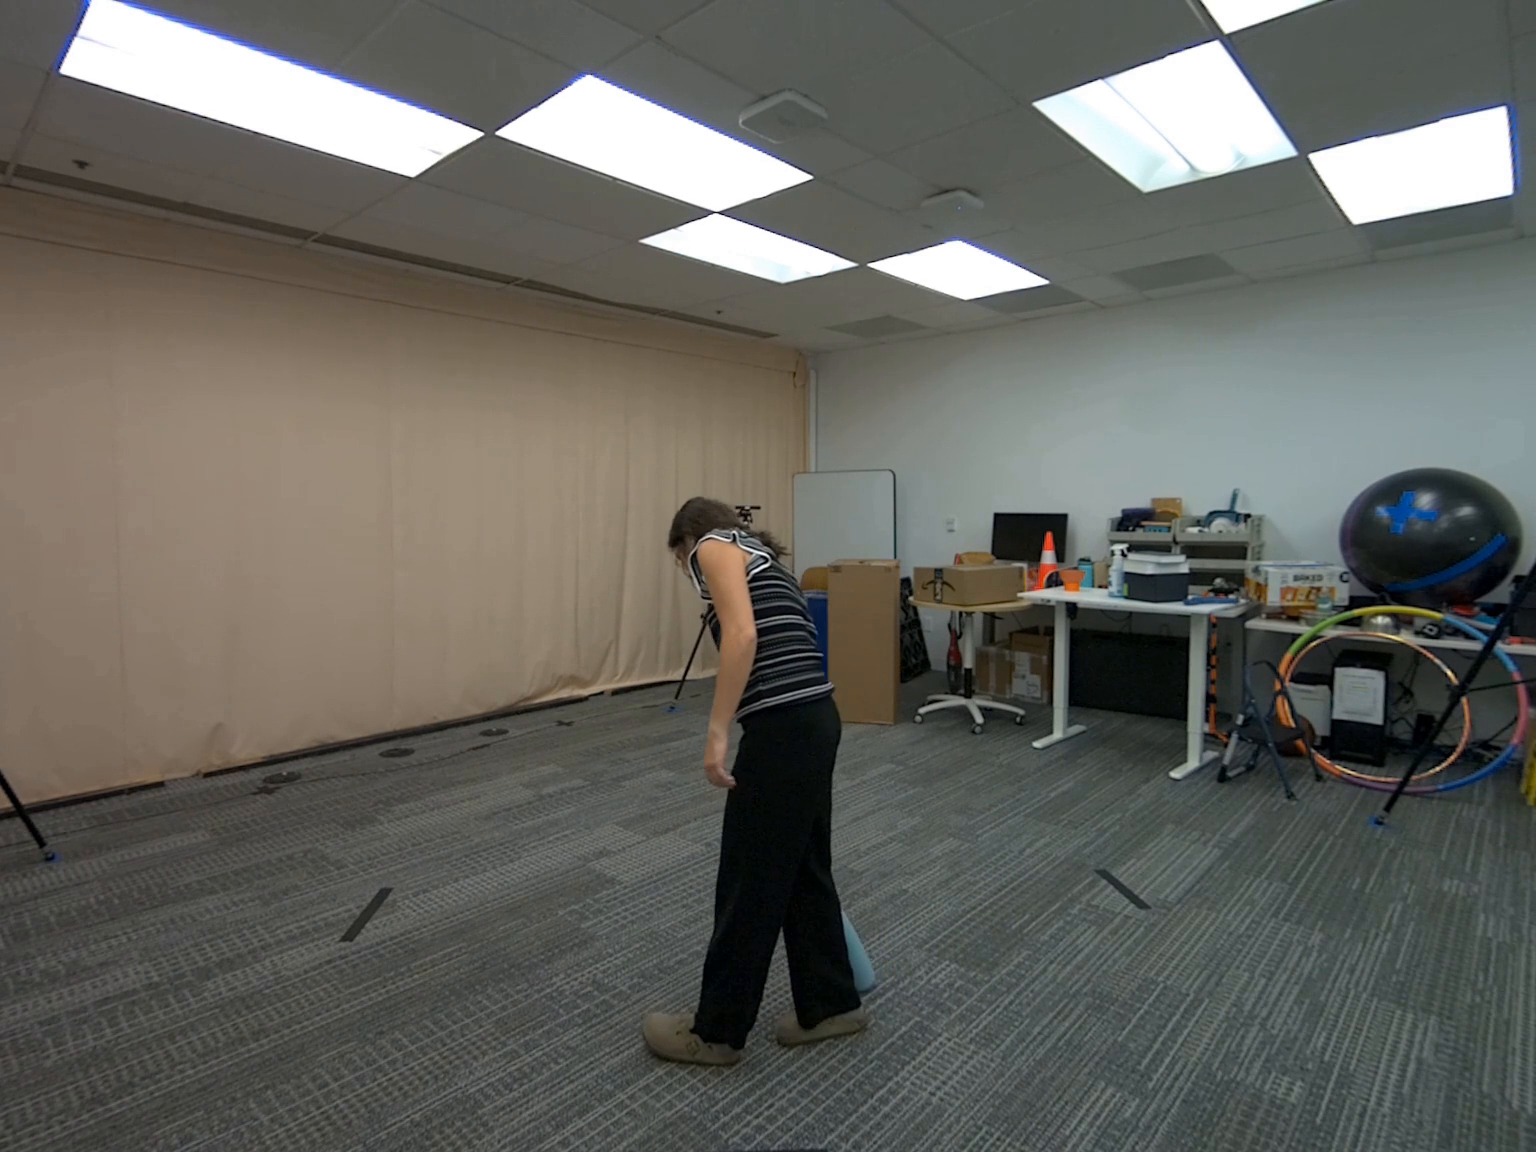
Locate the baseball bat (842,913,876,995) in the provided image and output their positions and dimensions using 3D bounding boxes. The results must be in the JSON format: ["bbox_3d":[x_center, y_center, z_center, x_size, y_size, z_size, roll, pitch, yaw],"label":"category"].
[{"bbox_3d":[0.172,0.945,2.371,0.089,0.536,0.090,-22,12,4],"label":"baseball bat"}]
